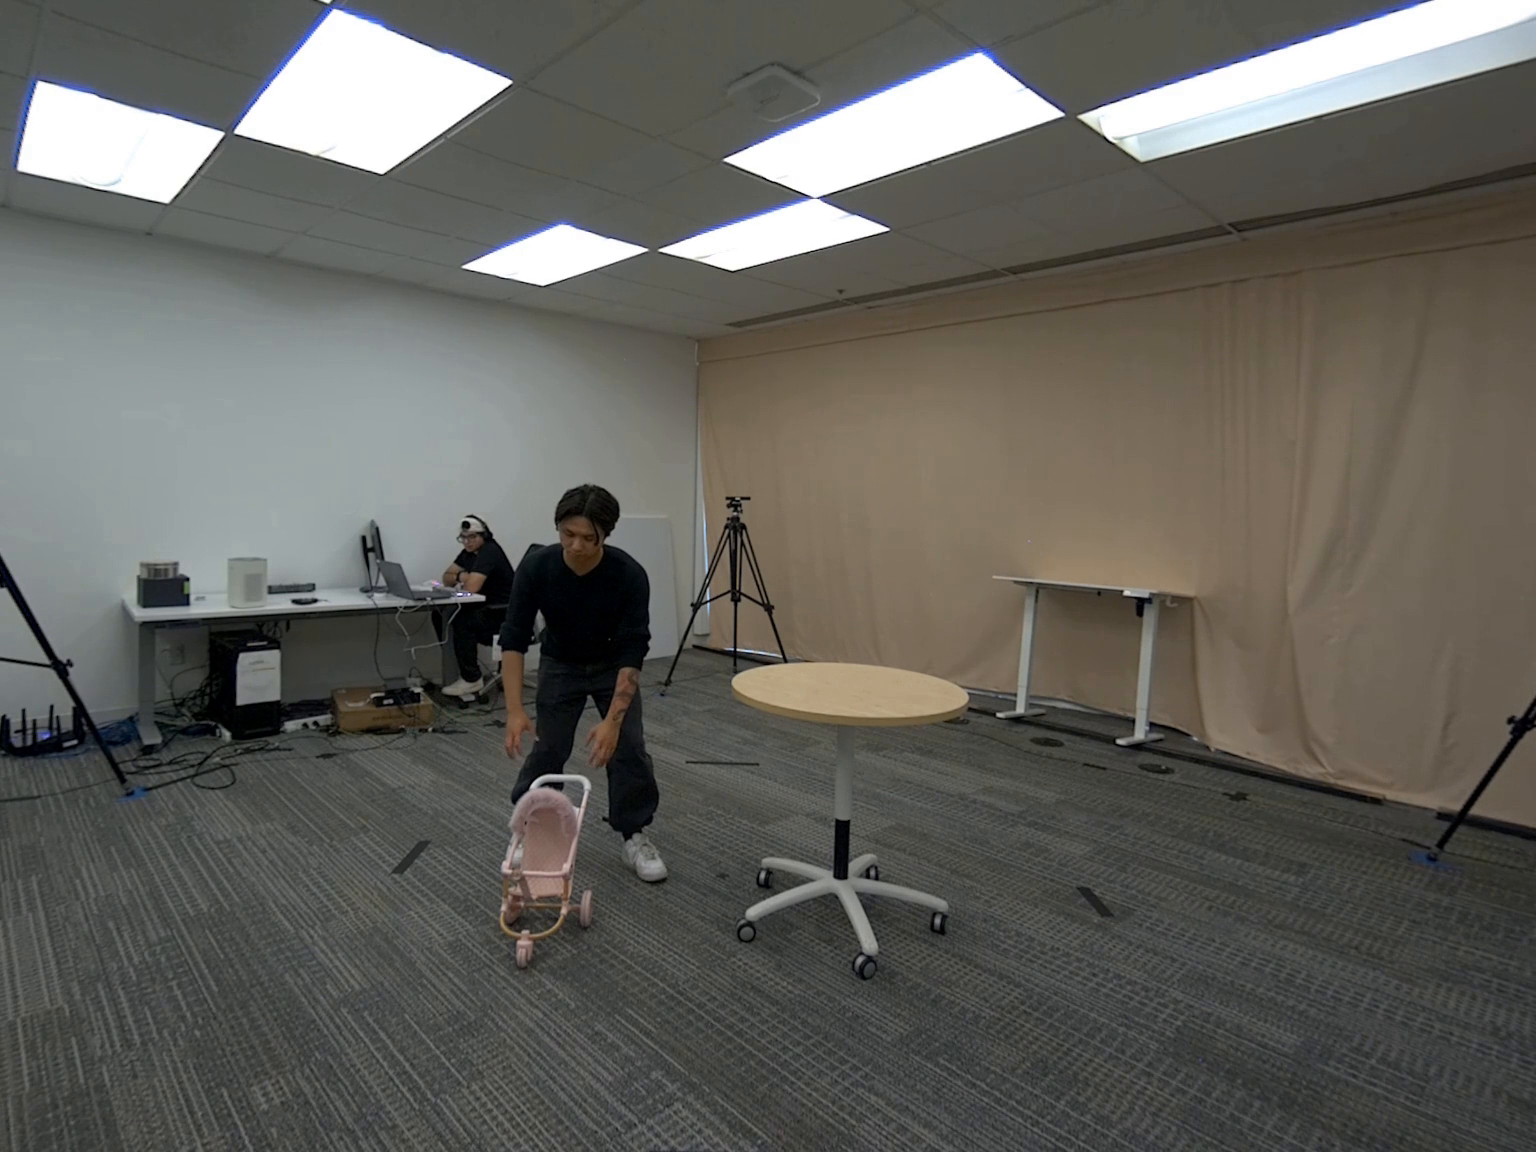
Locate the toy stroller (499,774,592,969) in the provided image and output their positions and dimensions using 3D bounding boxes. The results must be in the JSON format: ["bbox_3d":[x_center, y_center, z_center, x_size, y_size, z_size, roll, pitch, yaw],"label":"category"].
[{"bbox_3d":[-0.722,0.916,2.646,0.283,0.539,0.336,1,-11,6],"label":"toy stroller"}]
